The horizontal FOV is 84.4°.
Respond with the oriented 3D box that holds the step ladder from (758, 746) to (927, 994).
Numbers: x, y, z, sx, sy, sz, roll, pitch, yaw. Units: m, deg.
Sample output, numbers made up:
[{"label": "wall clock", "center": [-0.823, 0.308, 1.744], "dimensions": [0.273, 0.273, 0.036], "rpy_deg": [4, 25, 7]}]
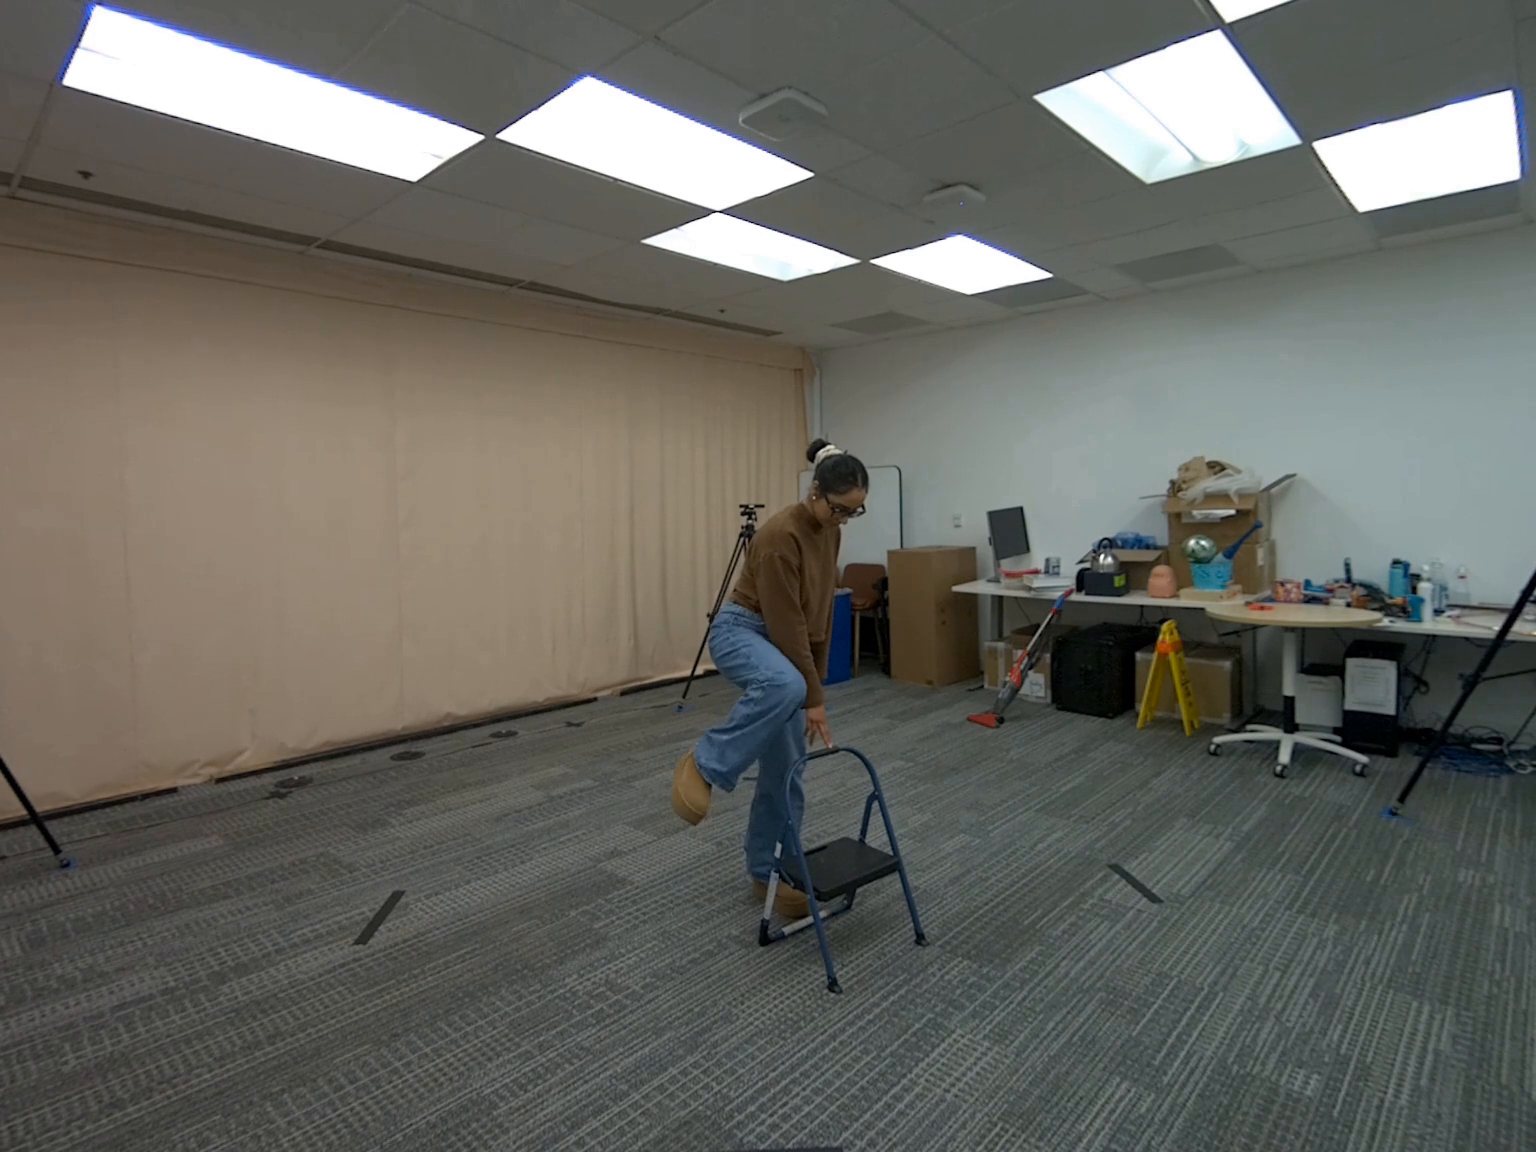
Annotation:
[{"label": "step ladder", "center": [0.237, 0.860, 2.640], "dimensions": [0.418, 0.605, 0.360], "rpy_deg": [-4, 4, -40]}]
